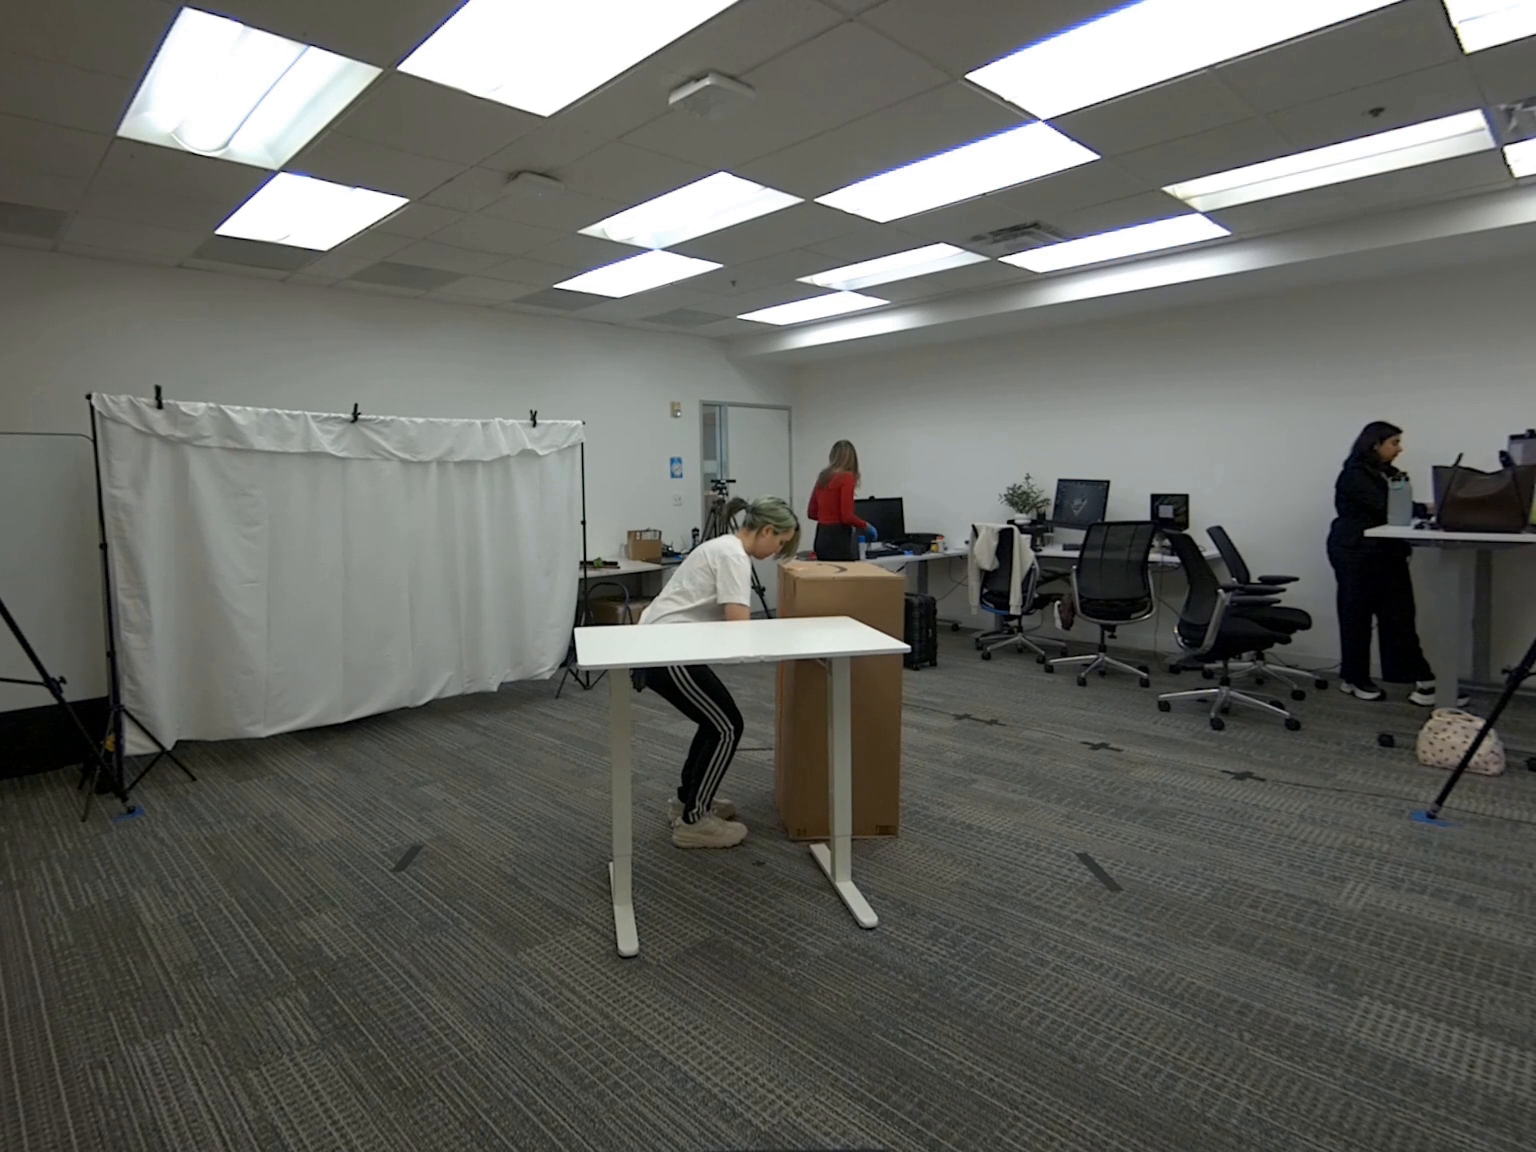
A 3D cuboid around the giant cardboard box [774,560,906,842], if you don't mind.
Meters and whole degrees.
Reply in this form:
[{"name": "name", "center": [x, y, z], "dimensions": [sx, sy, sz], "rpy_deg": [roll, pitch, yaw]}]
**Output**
[{"name": "giant cardboard box", "center": [0.272, 0.483, 3.552], "dimensions": [0.444, 1.023, 0.590], "rpy_deg": [1, 5, -7]}]
